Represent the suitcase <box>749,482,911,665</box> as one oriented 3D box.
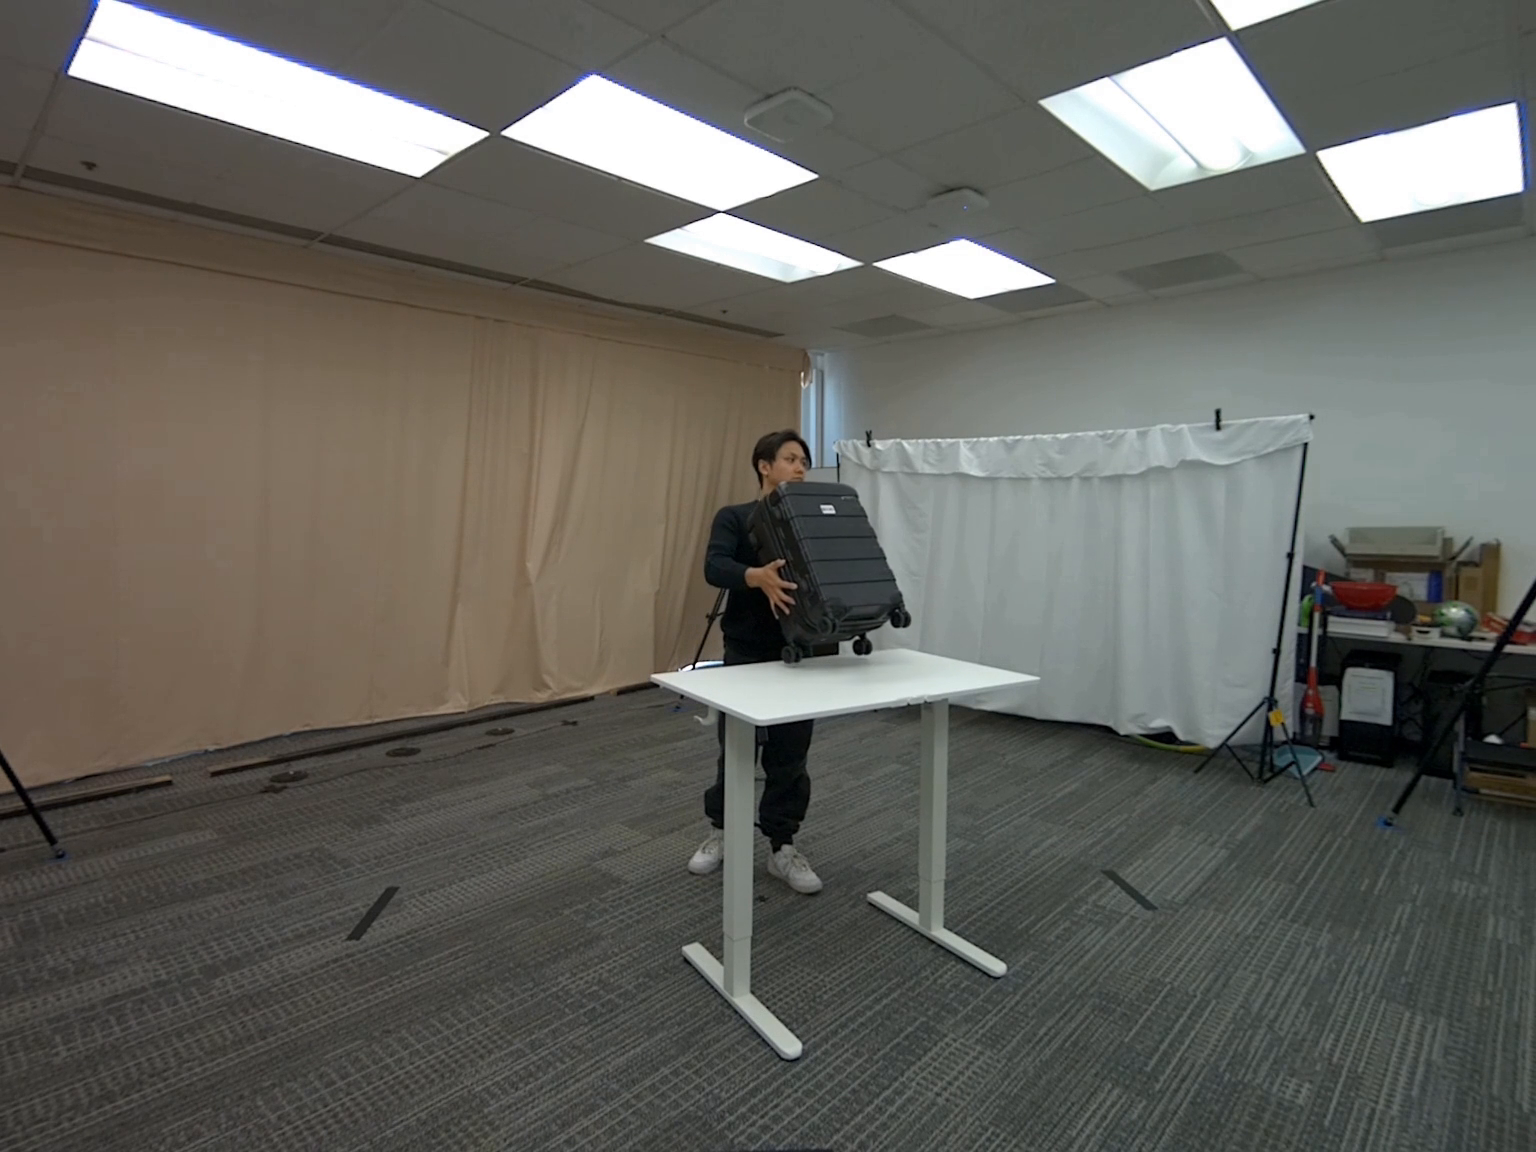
[{"bbox_3d":[0.183,-0.035,2.742,0.364,0.560,0.250,0,-29,-33],"label":"suitcase"}]
